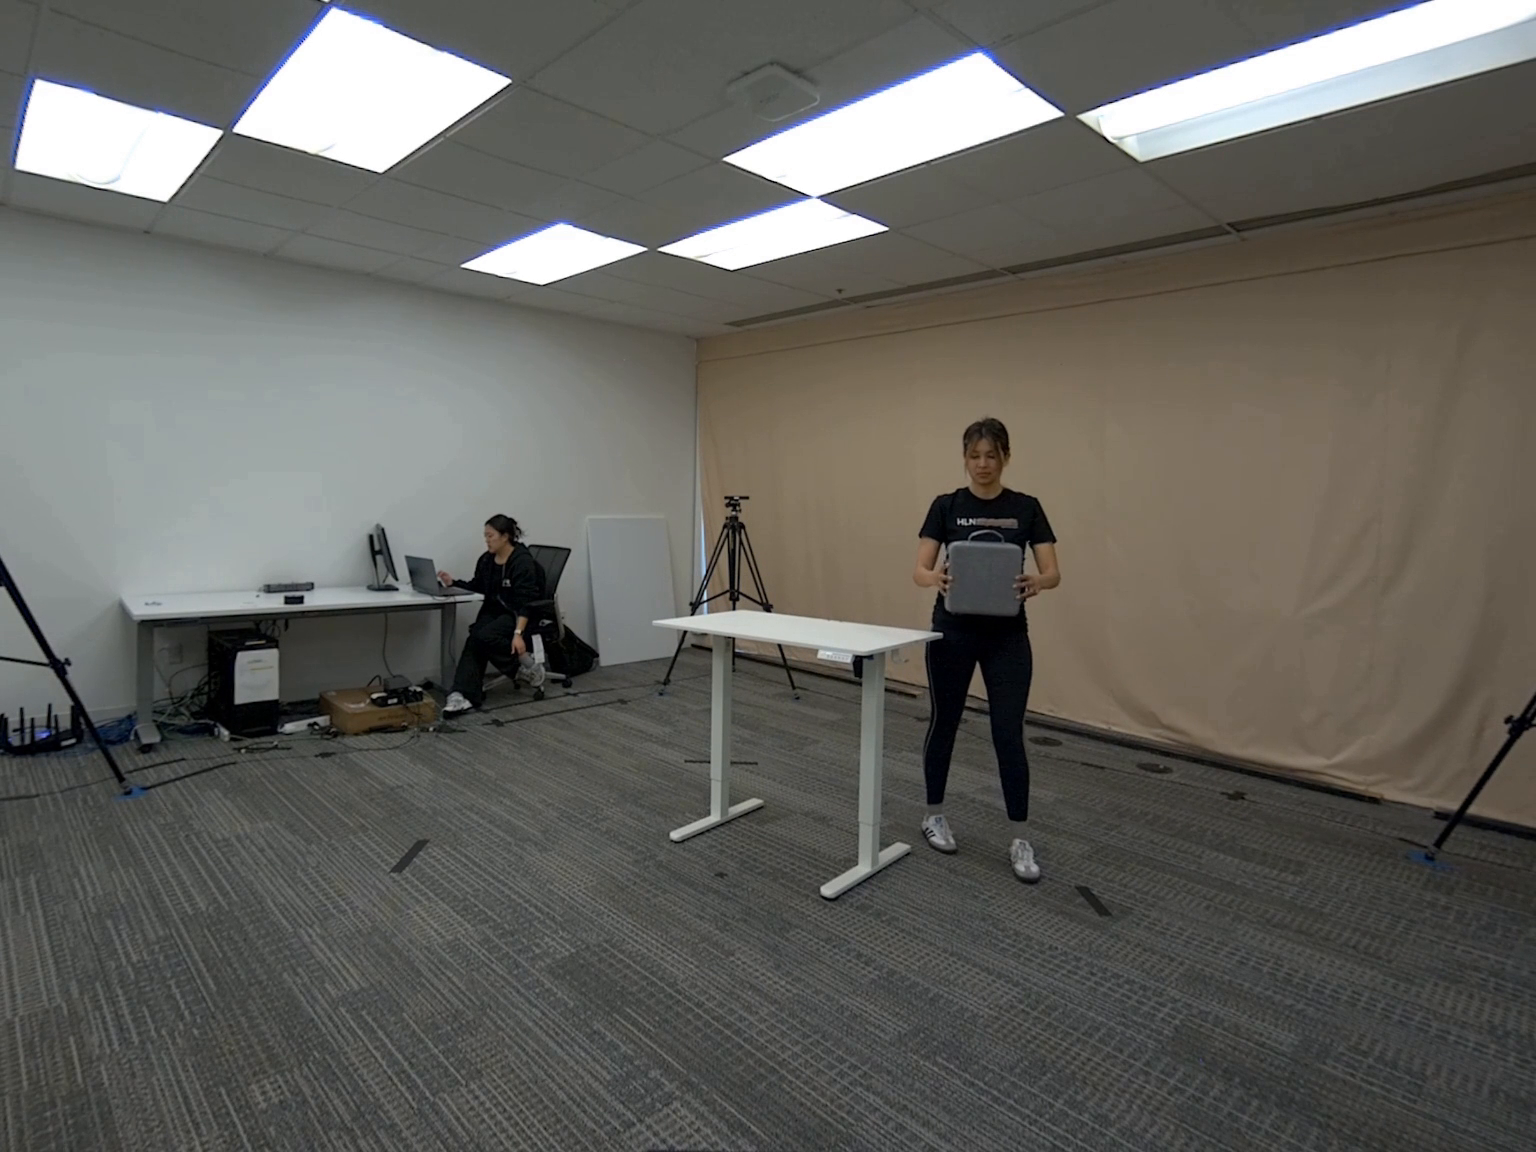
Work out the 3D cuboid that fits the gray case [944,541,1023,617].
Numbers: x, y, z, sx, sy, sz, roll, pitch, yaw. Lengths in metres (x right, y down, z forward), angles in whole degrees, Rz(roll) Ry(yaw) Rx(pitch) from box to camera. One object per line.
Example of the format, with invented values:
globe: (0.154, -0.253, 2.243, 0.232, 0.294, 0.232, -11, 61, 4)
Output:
gray case: (0.755, 0.004, 2.963, 0.259, 0.259, 0.104, 1, 6, 11)
